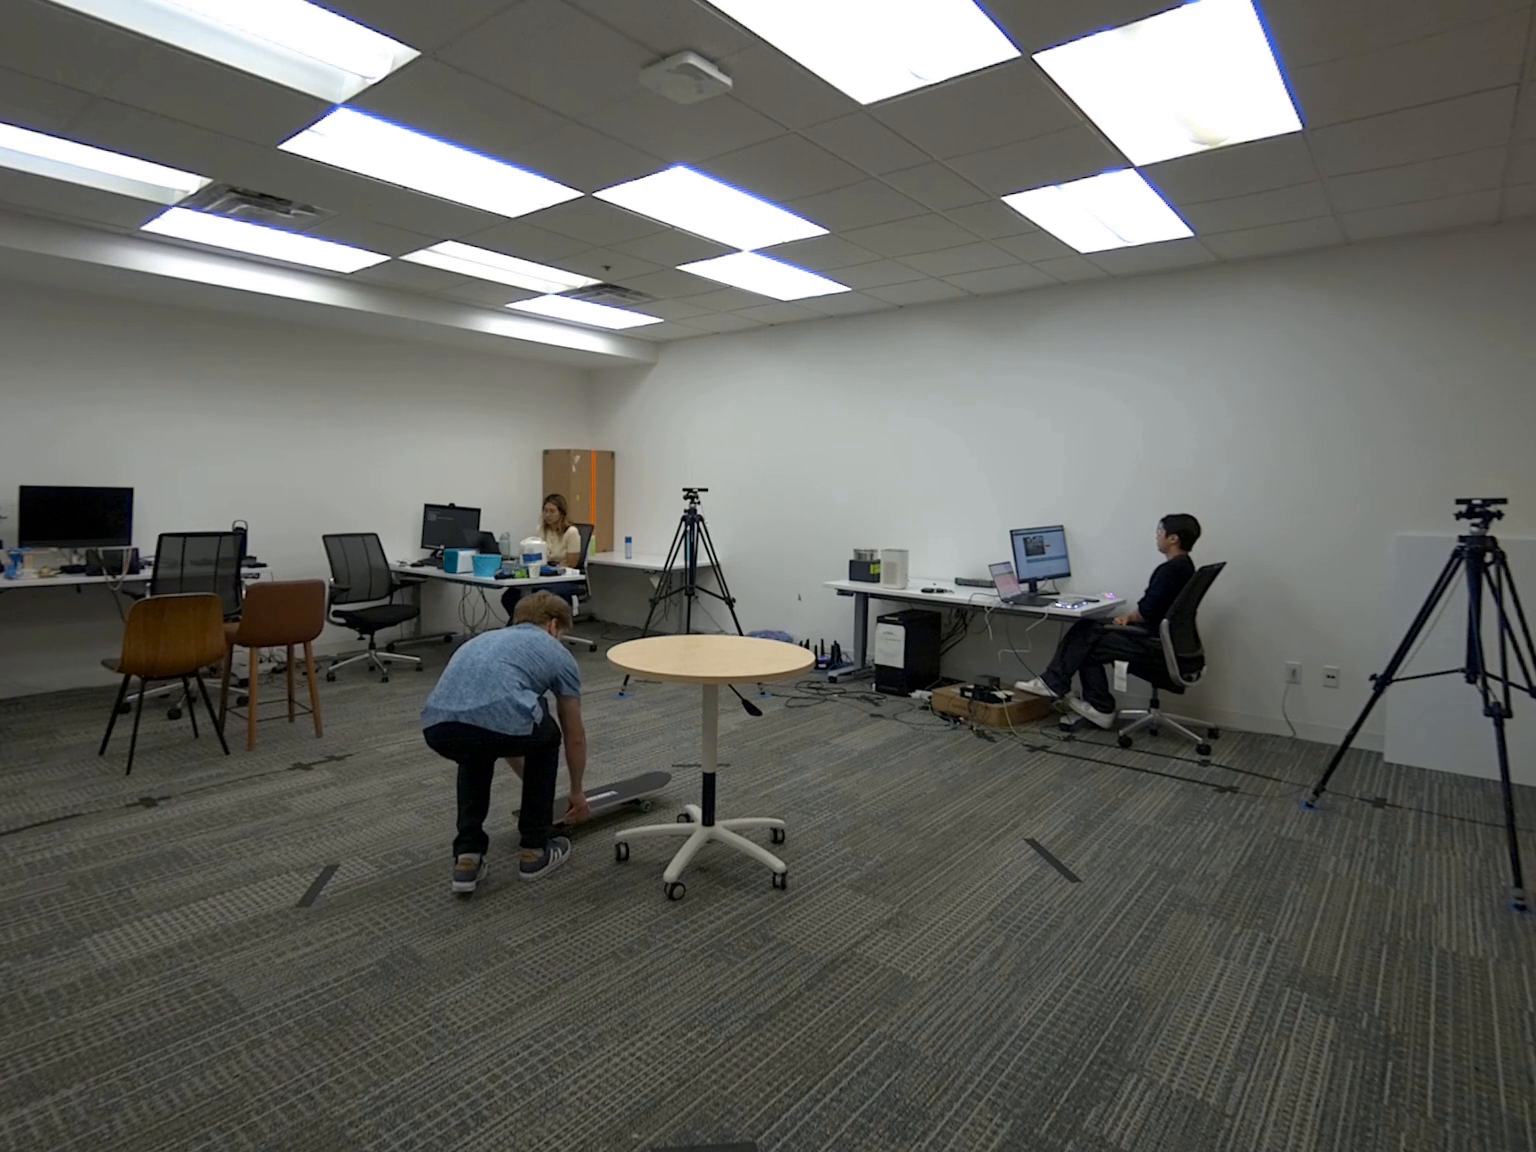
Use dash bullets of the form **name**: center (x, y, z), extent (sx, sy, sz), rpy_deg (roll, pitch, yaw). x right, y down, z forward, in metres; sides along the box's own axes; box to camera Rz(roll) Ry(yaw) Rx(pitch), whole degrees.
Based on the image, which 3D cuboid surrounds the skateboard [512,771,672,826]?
- **skateboard**: center (-0.728, 0.960, 3.572), extent (0.200, 0.110, 0.762), rpy_deg (6, 8, 44)
